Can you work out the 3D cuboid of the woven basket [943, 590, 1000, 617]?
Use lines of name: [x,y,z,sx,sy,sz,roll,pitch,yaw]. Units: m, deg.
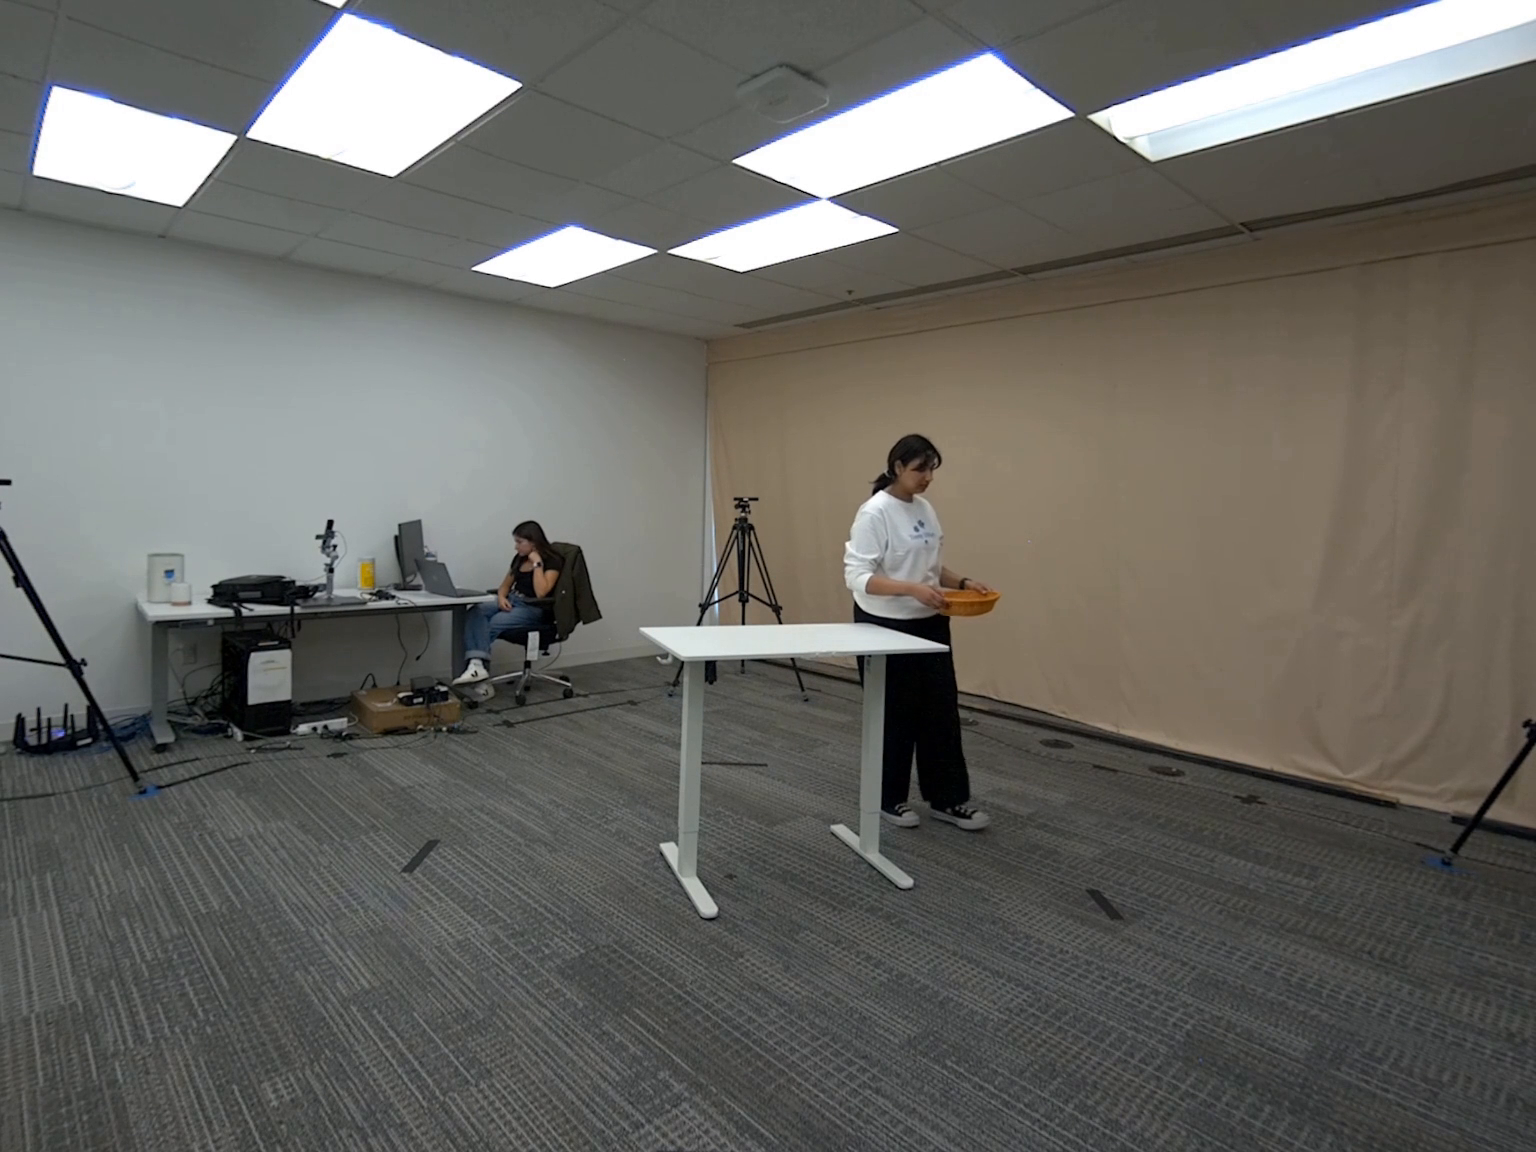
woven basket: [0.790,0.113,3.468,0.258,0.073,0.344,2,6,29]
